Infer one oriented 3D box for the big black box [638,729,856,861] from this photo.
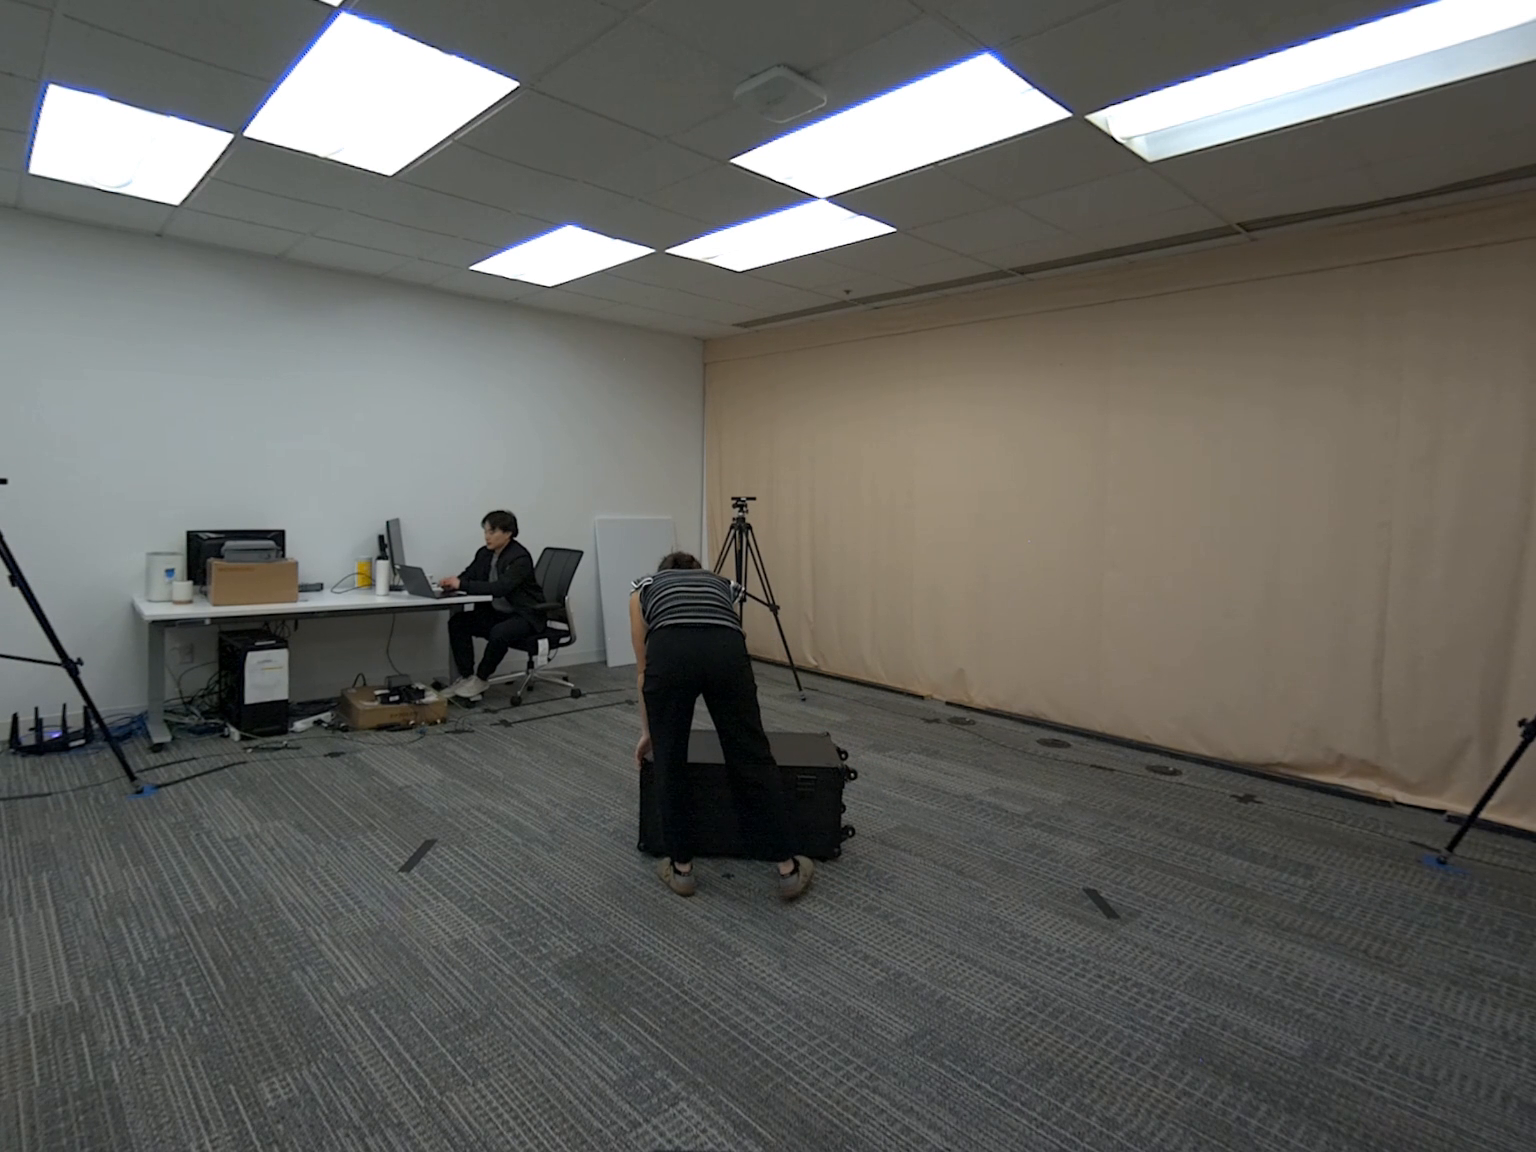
[{"bbox_3d":[-0.088,0.883,3.464,0.860,0.395,0.523,1,4,-2],"label":"big black box"}]
